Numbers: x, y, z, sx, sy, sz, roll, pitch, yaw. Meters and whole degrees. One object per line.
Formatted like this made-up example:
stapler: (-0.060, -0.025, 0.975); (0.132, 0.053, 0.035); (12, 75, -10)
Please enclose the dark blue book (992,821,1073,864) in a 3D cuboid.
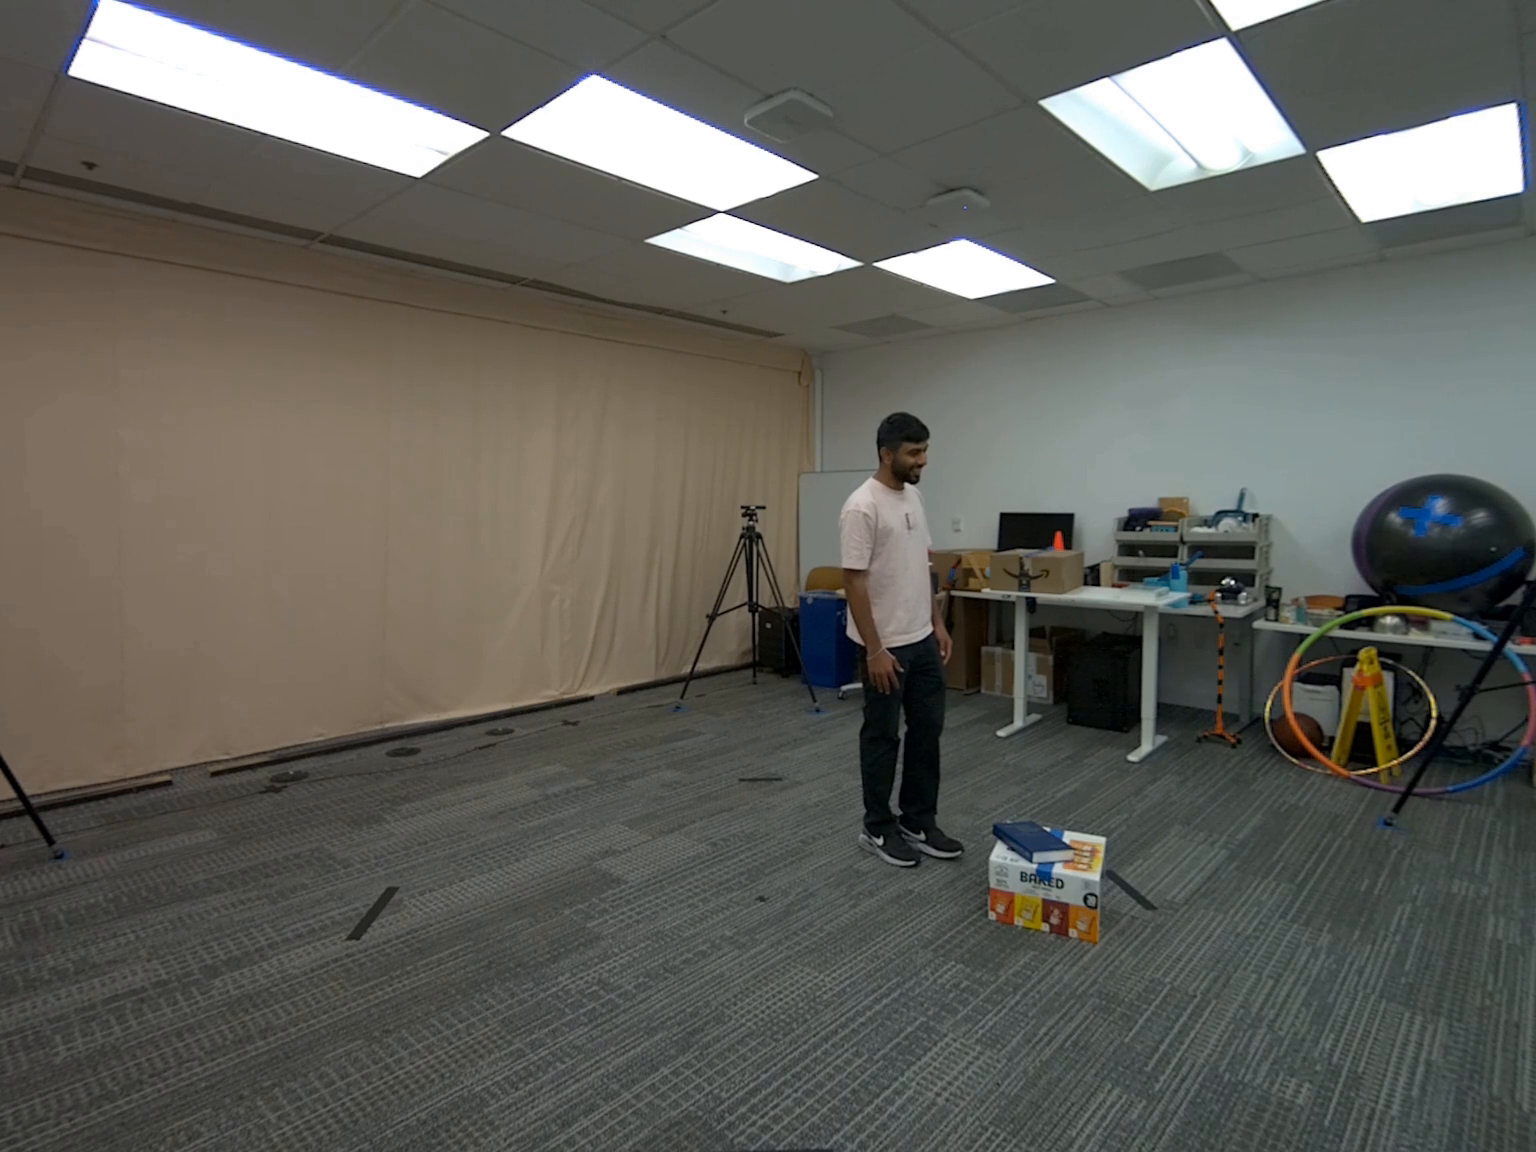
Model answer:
dark blue book: (0.934, 0.929, 2.931); (0.161, 0.045, 0.249); (1, 5, -16)
